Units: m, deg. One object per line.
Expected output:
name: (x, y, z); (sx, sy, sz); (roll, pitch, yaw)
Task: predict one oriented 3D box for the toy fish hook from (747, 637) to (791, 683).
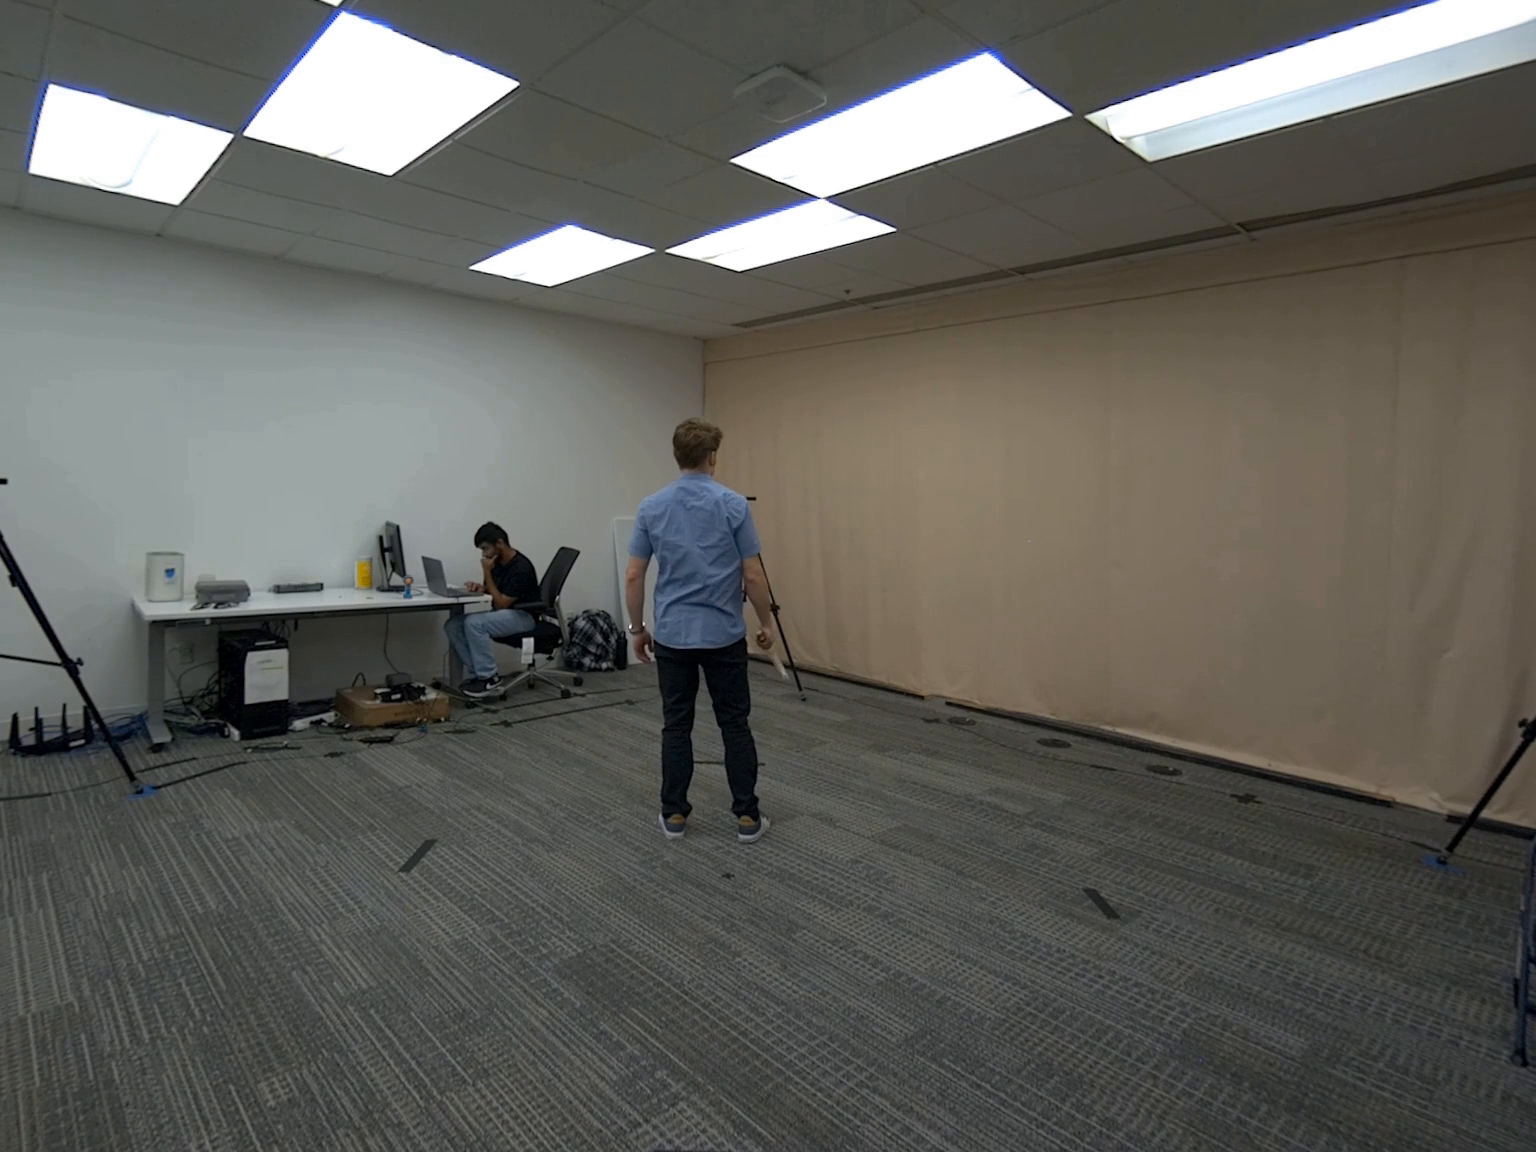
toy fish hook: (0.036, 0.357, 3.735); (0.048, 0.229, 0.497); (-34, -18, -2)
